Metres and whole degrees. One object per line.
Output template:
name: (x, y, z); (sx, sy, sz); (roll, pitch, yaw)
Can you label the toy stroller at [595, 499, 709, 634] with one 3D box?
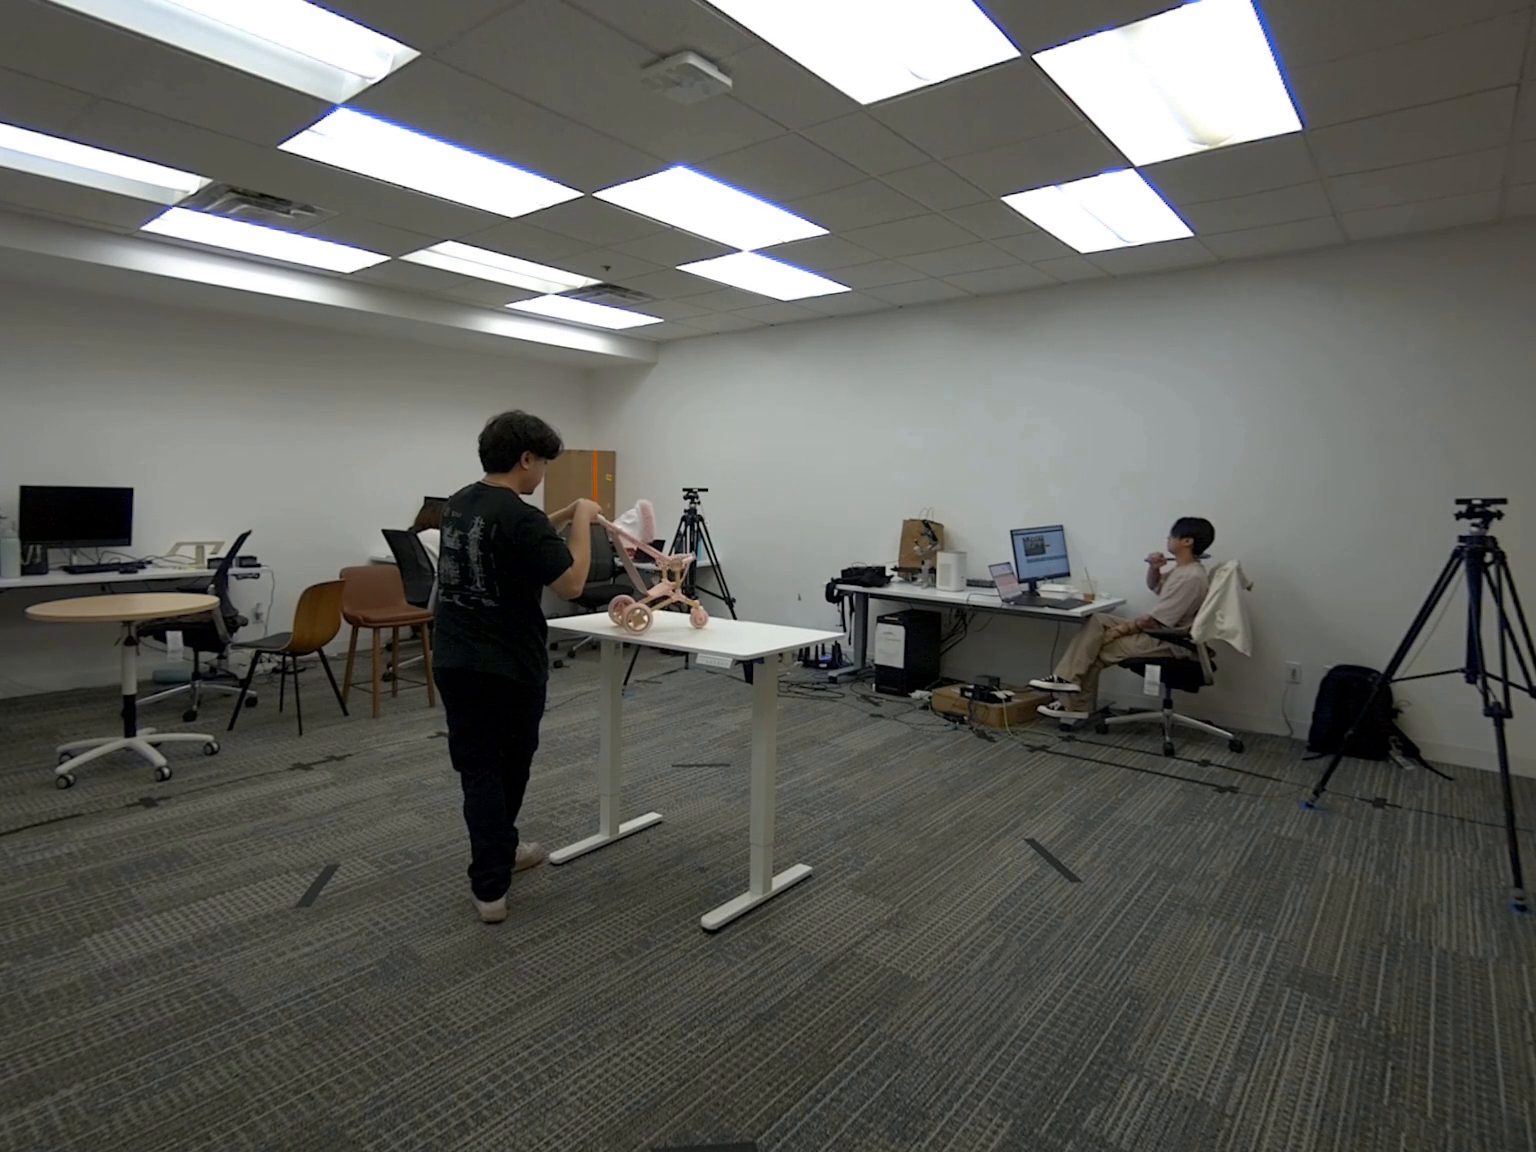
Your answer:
toy stroller: (-0.431, -0.032, 3.026); (0.338, 0.531, 0.287); (-15, 7, -14)
